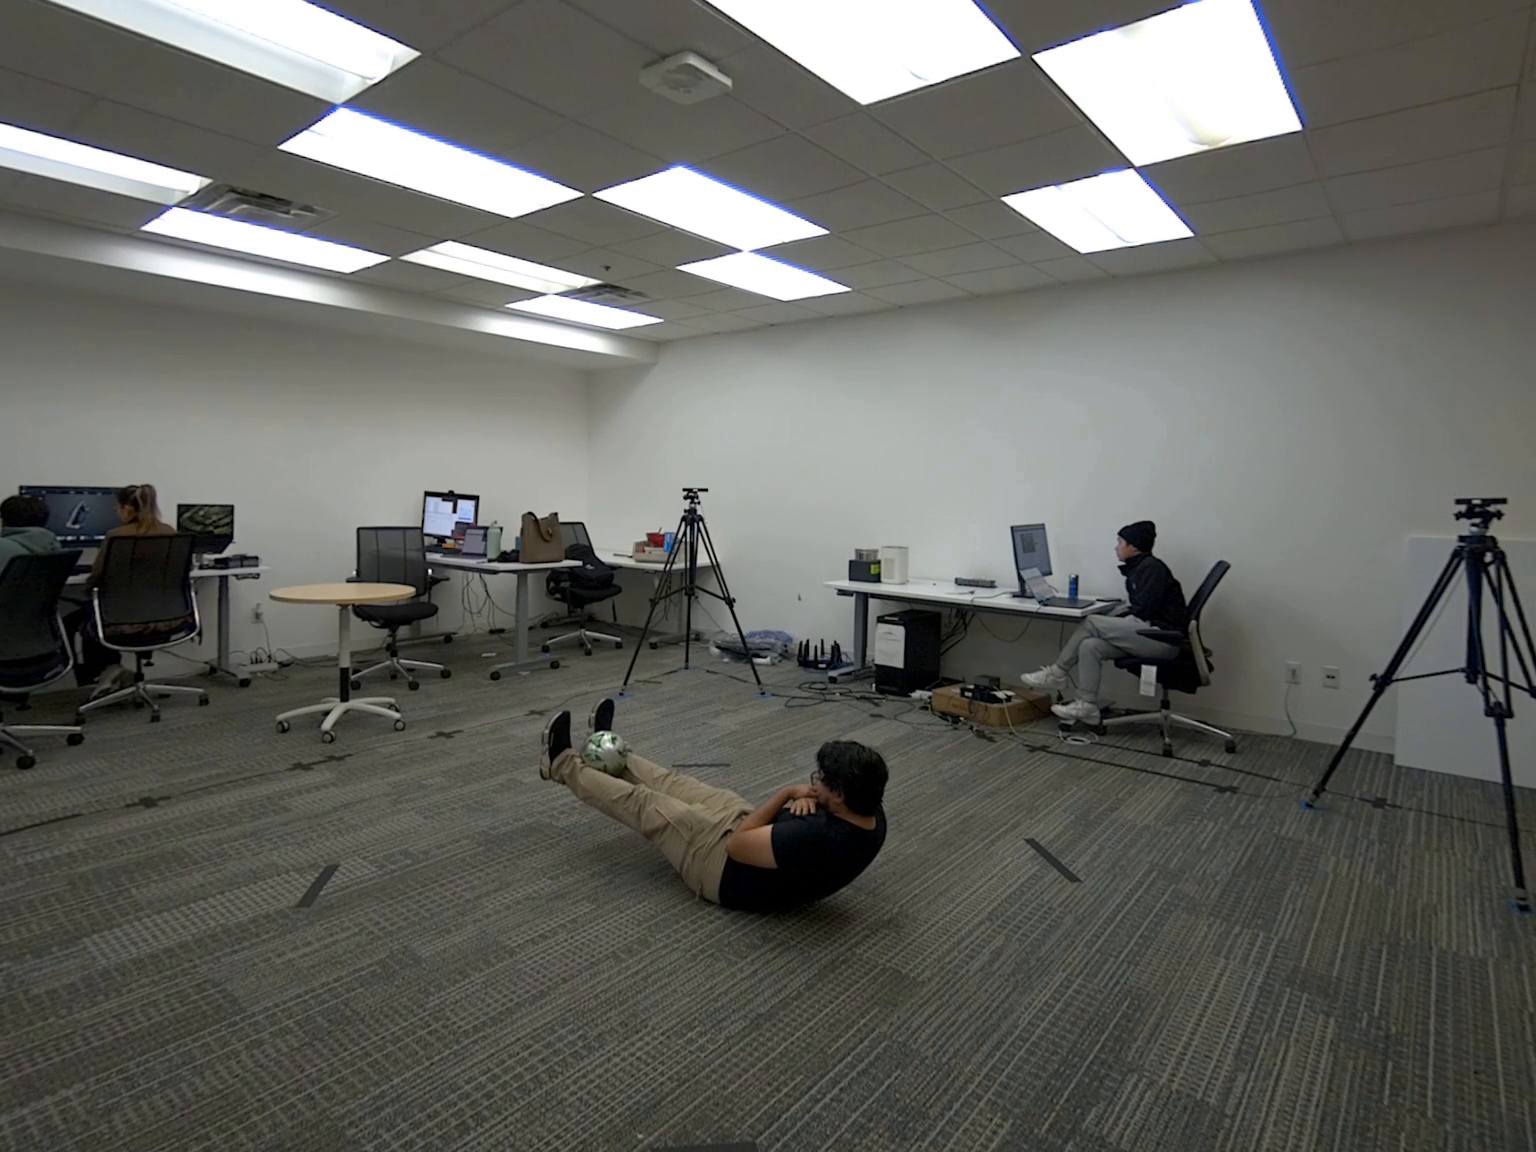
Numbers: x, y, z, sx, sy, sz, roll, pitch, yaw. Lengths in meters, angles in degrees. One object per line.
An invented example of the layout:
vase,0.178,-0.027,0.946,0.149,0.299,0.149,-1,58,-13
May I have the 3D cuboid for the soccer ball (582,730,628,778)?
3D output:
soccer ball,-0.666,0.708,3.349,0.187,0.187,0.188,0,4,-2
